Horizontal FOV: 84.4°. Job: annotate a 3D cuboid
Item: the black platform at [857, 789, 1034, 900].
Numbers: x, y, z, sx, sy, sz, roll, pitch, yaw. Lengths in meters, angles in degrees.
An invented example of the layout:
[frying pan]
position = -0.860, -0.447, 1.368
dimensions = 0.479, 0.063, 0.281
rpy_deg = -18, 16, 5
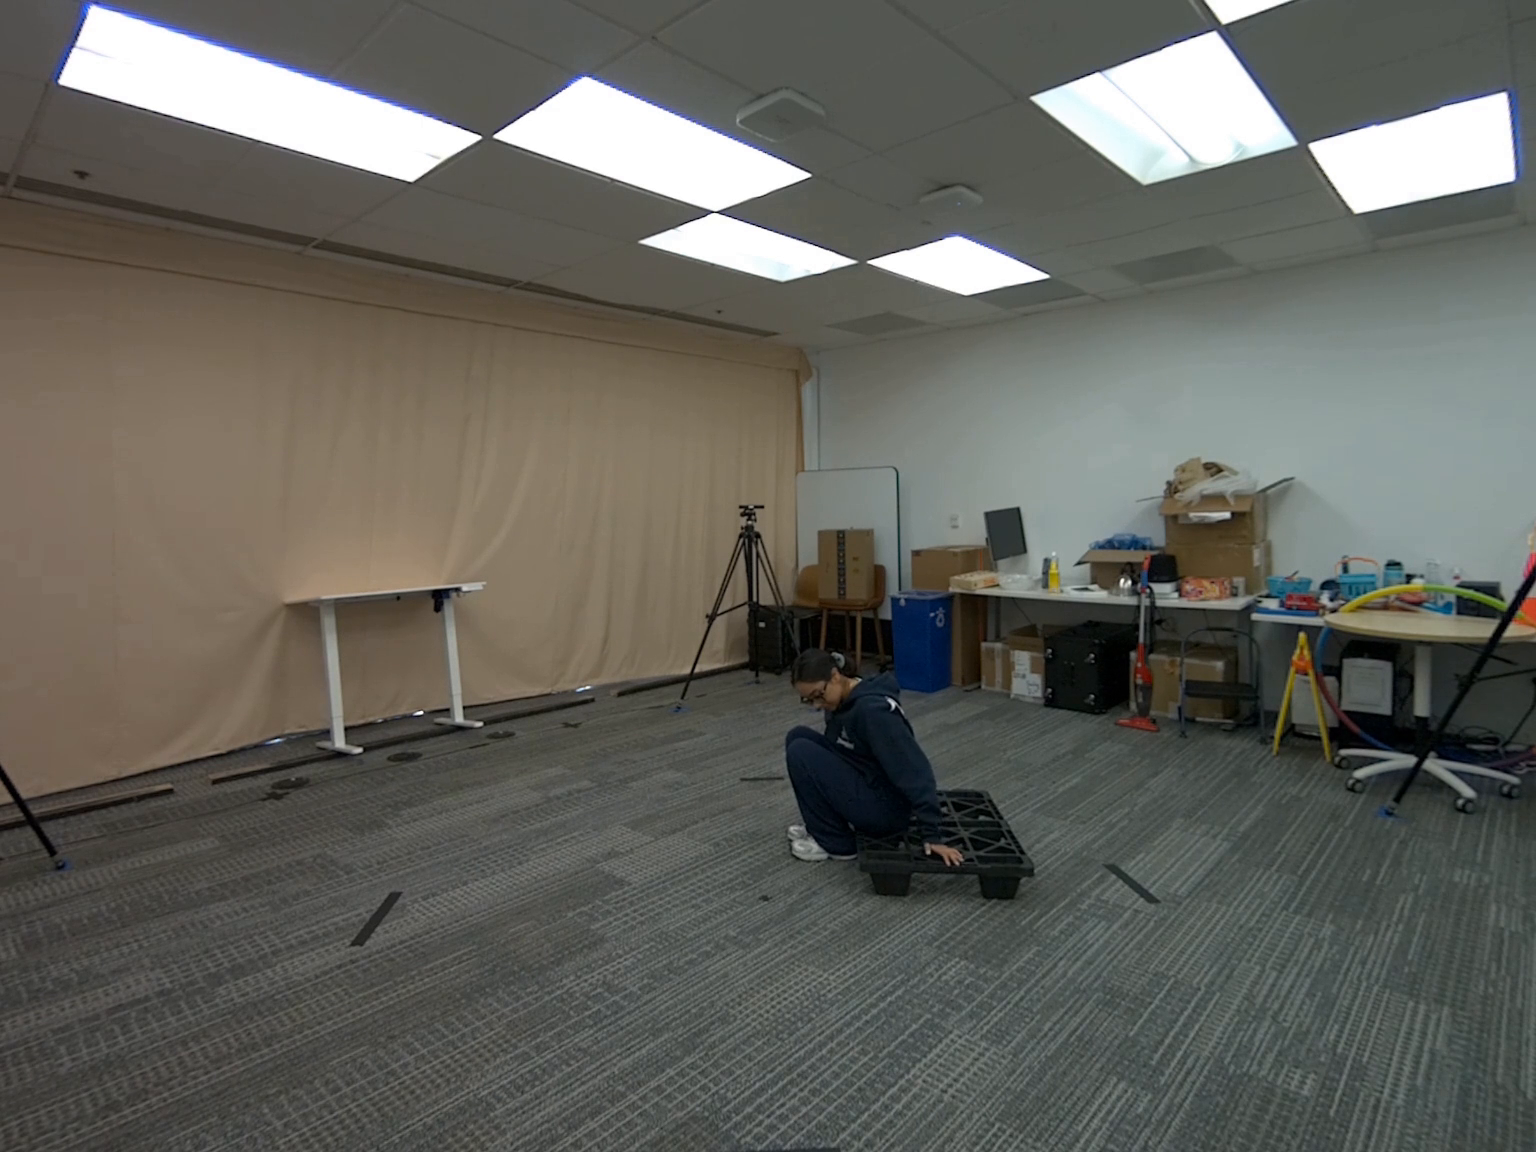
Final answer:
[black platform]
position = 0.653, 1.035, 3.314
dimensions = 0.608, 0.143, 0.803
rpy_deg = 0, 5, 4
